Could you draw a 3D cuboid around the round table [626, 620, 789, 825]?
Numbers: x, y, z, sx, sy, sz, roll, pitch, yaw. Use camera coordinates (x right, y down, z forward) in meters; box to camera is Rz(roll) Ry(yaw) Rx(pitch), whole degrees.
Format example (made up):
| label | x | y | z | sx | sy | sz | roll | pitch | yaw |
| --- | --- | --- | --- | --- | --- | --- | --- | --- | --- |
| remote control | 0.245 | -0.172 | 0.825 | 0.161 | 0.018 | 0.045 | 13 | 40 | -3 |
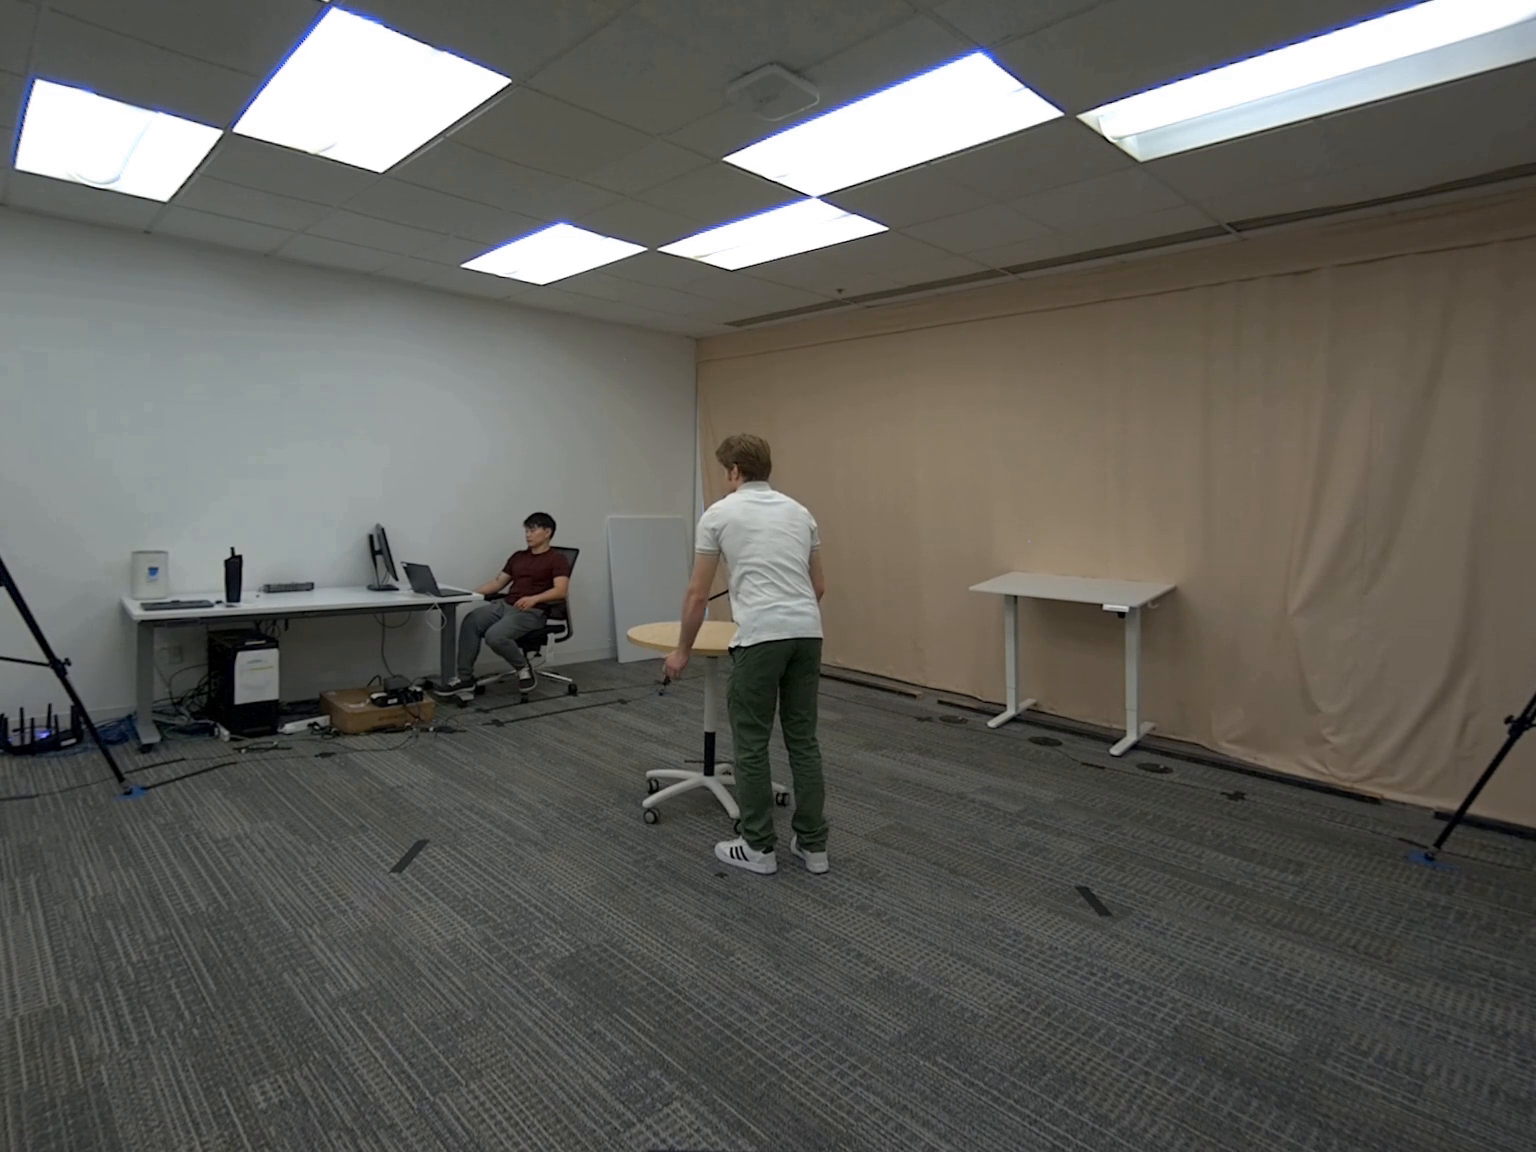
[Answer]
| label | x | y | z | sx | sy | sz | roll | pitch | yaw |
| --- | --- | --- | --- | --- | --- | --- | --- | --- | --- |
| round table | -0.263 | 0.652 | 3.791 | 0.763 | 0.792 | 0.766 | 2 | 4 | -1 |
